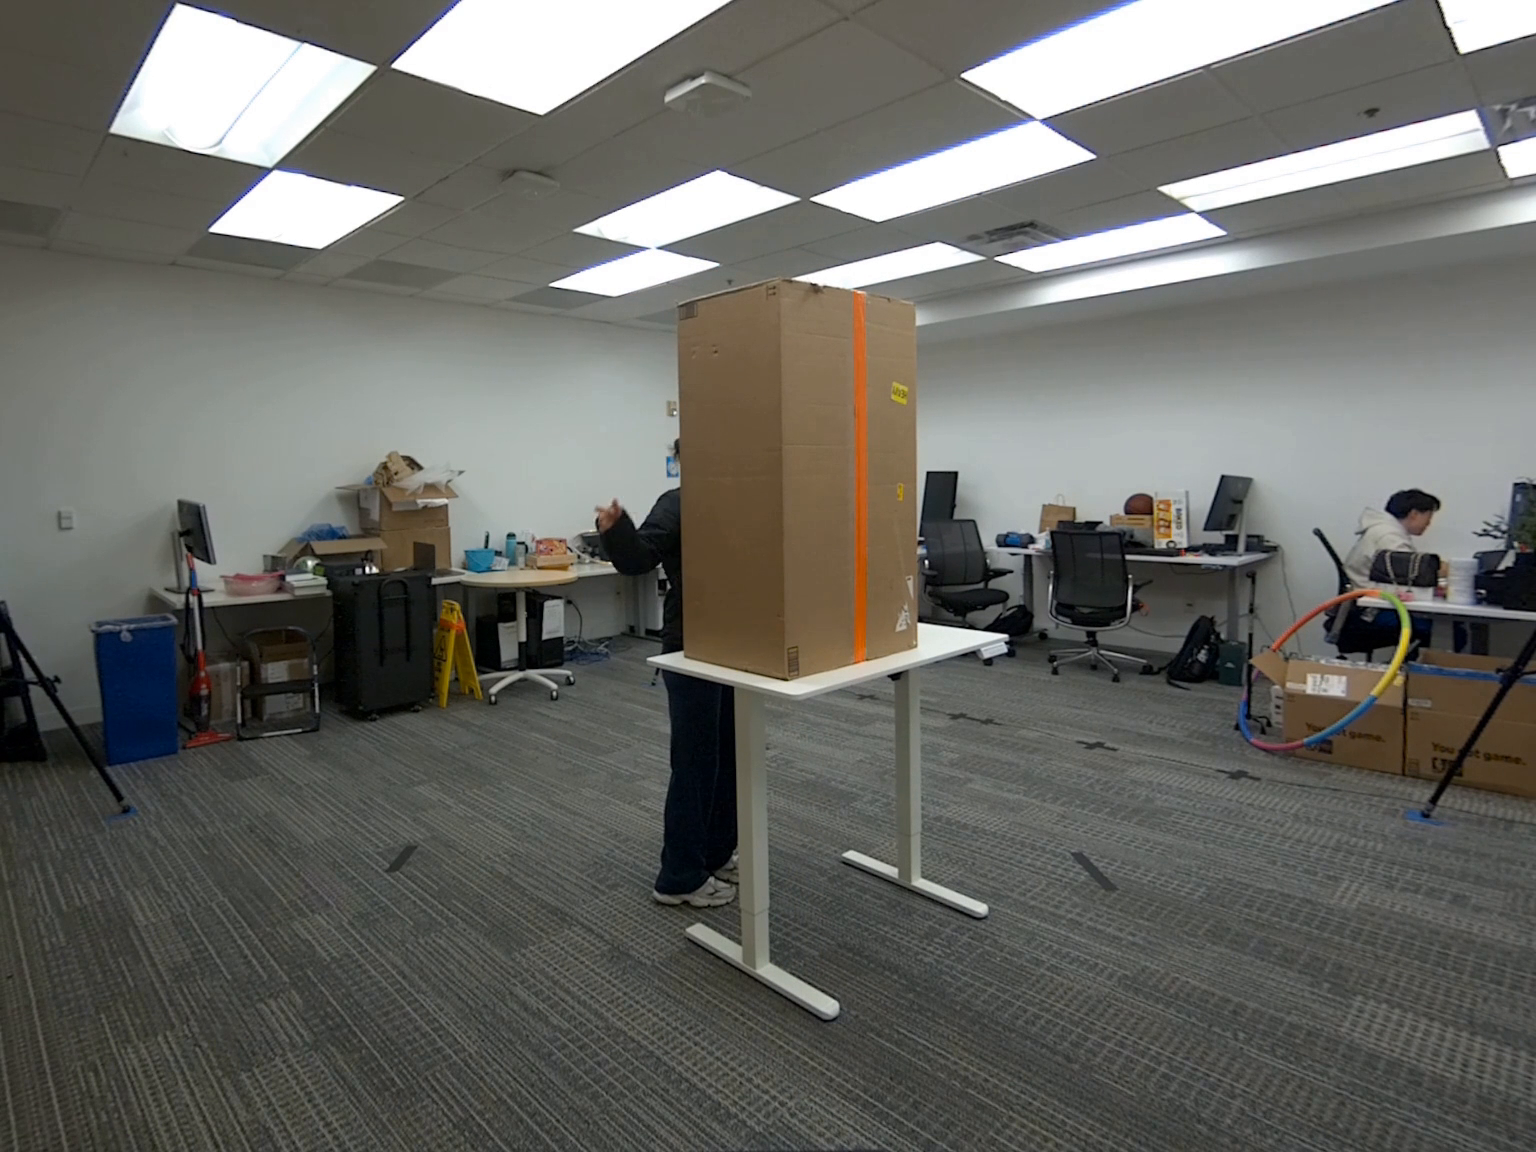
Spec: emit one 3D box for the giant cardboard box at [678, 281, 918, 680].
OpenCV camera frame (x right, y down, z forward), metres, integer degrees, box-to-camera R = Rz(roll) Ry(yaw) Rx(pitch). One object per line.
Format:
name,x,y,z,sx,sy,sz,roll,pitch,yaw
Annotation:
giant cardboard box,0.097,-0.282,2.509,0.569,1.022,0.461,-5,7,-42
